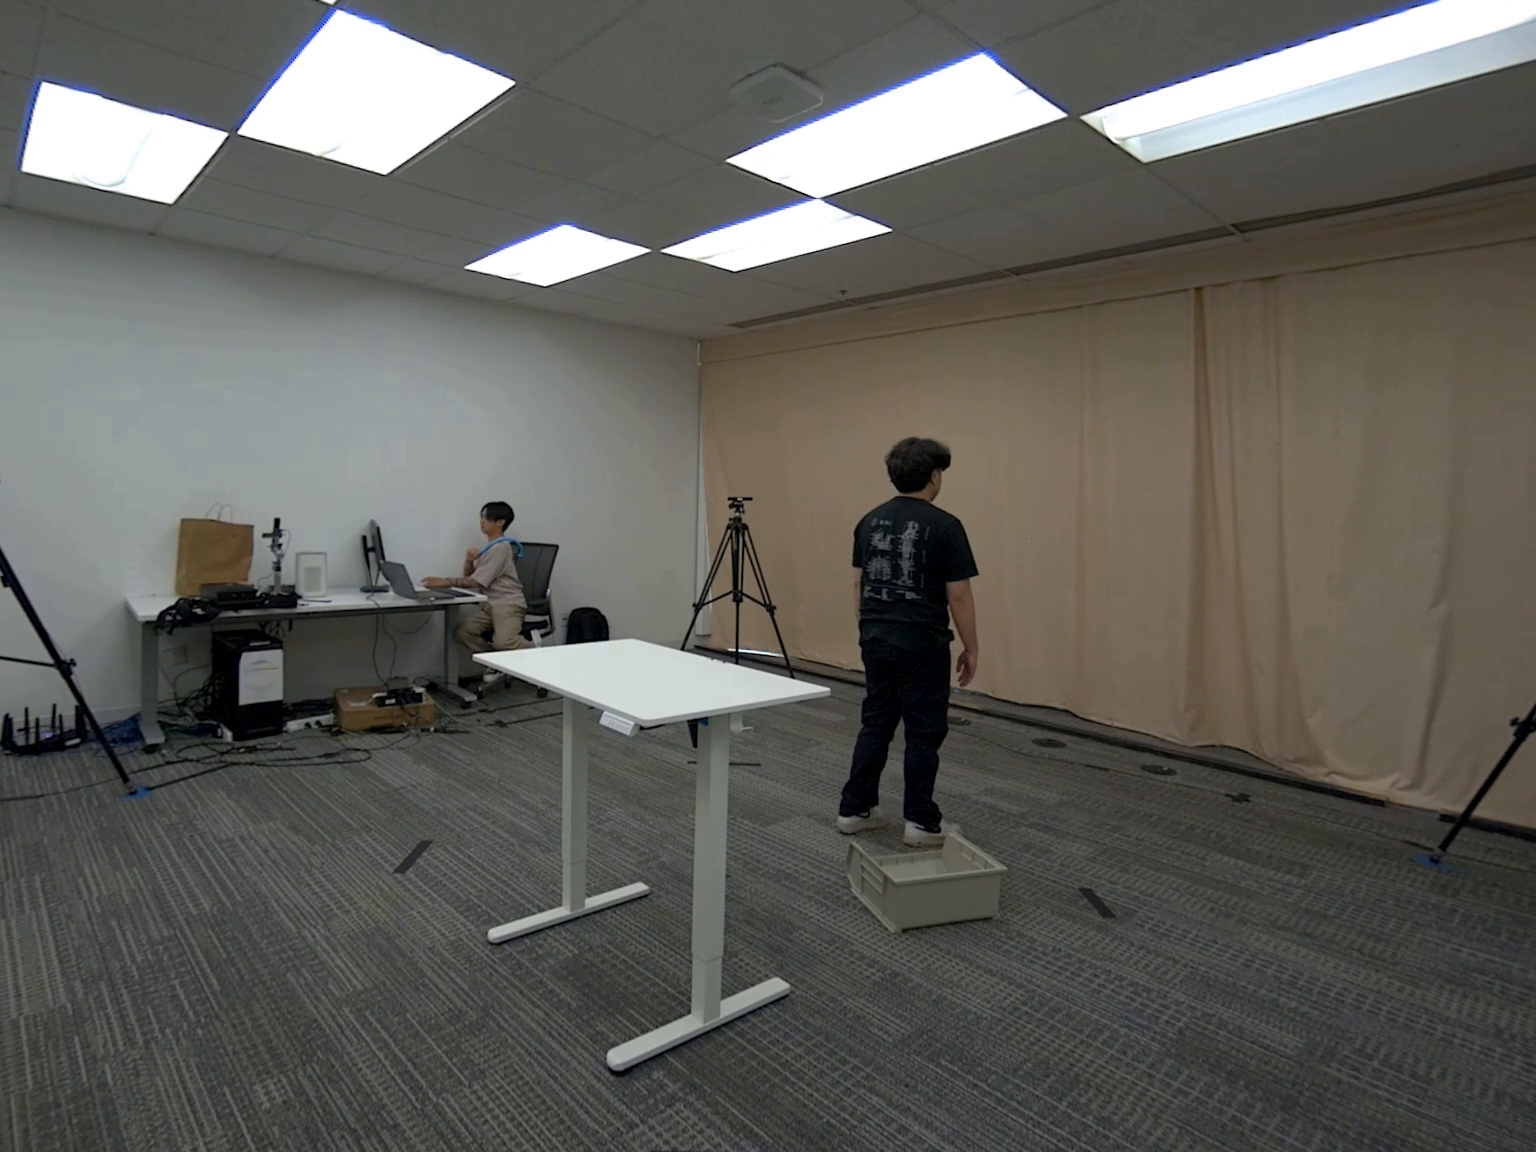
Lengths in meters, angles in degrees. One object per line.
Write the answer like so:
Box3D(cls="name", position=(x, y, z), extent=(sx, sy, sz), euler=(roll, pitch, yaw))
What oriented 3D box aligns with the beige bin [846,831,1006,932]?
Box3D(cls="beige bin", position=(0.527, 1.051, 2.943), extent=(0.416, 0.188, 0.384), euler=(1, 5, -19))
